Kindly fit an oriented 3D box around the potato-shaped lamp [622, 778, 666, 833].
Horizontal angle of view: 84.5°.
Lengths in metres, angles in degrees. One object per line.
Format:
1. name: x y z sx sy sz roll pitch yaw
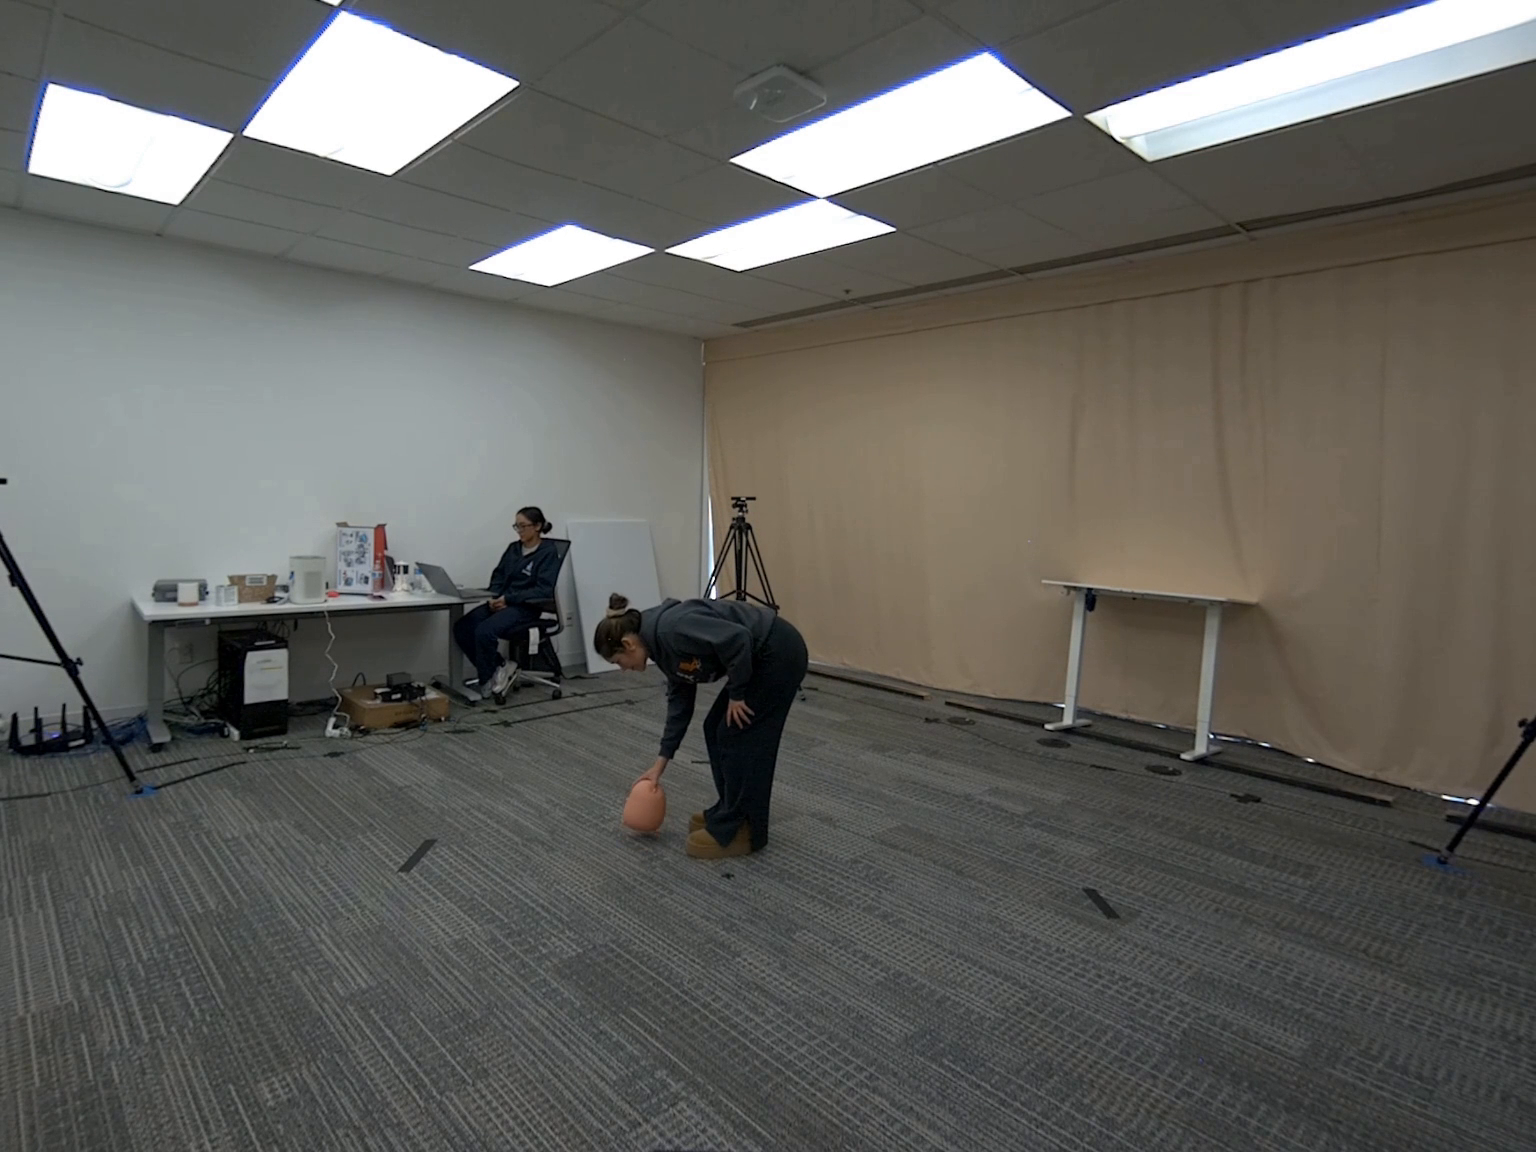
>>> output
1. potato-shaped lamp: -0.502 0.914 3.437 0.160 0.198 0.175 8 -4 -43
